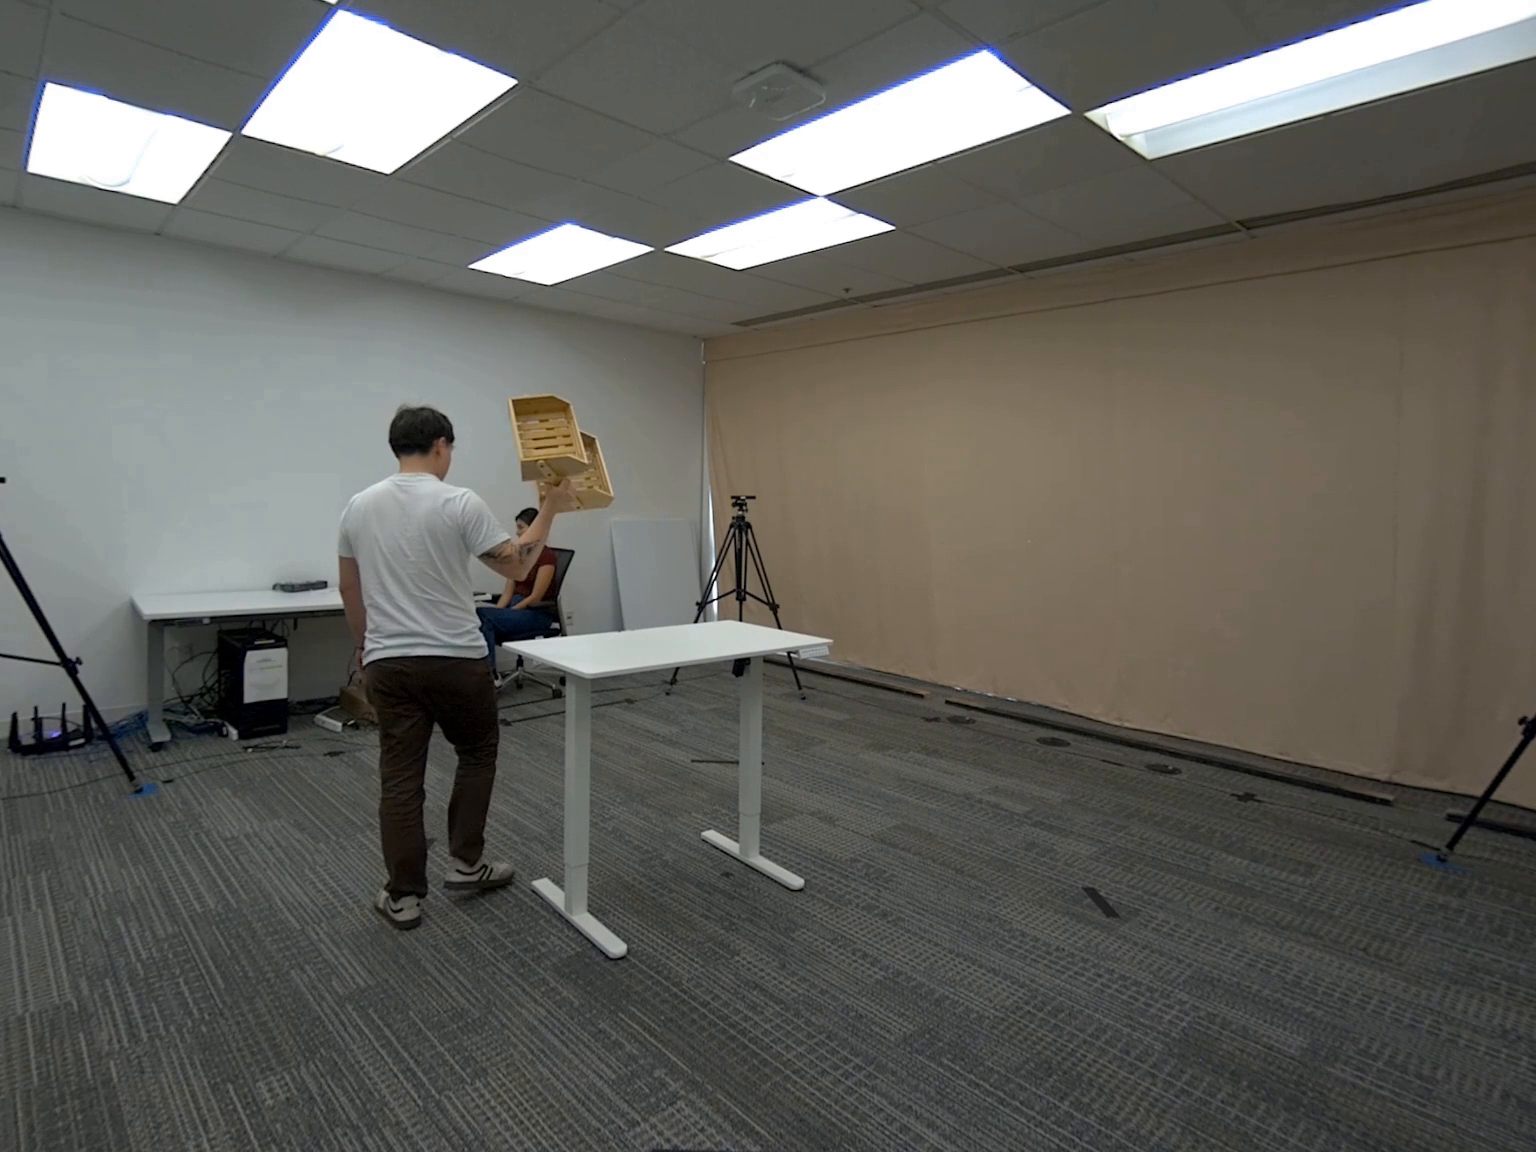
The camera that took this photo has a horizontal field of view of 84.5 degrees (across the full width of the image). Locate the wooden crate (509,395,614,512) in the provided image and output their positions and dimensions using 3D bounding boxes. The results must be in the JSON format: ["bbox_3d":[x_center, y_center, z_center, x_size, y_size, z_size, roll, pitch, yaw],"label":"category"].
[{"bbox_3d":[-0.693,-0.413,2.815,0.298,0.334,0.269,-9,-38,-18],"label":"wooden crate"}]
